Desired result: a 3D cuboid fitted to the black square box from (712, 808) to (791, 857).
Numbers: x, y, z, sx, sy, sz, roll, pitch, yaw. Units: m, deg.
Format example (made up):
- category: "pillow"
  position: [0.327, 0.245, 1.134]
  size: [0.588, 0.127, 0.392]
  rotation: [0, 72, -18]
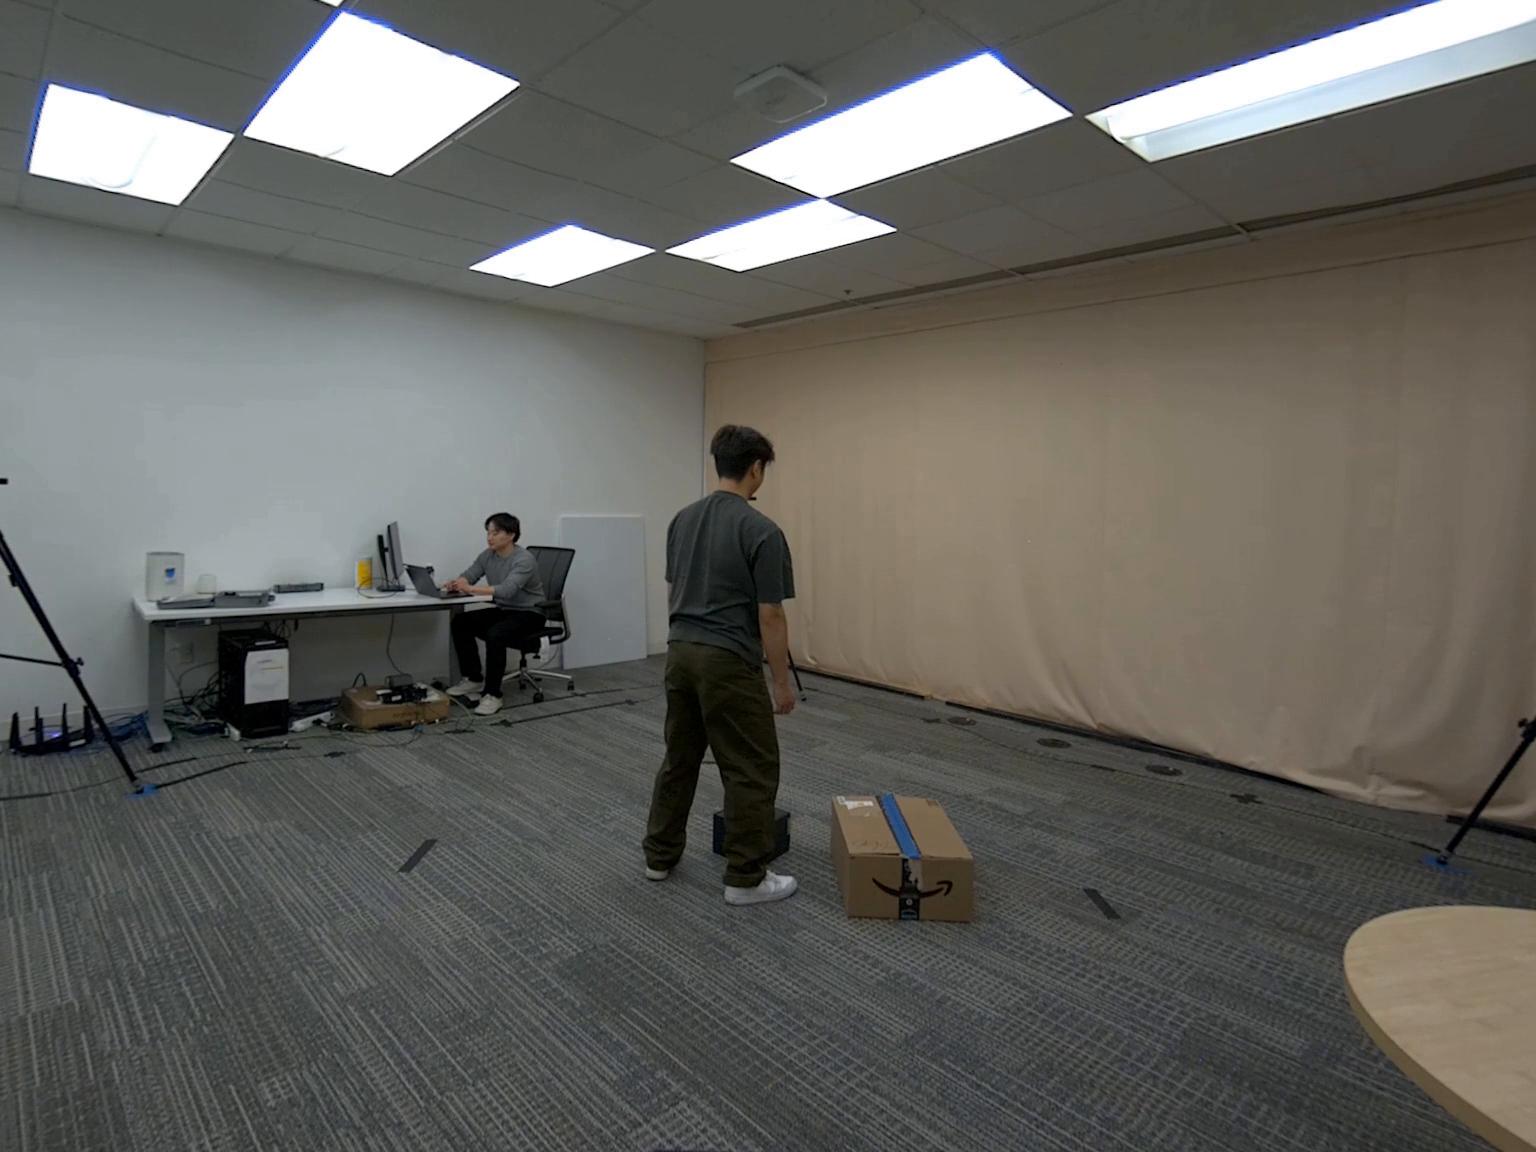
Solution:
- category: "black square box"
  position: [-0.068, 1.010, 3.317]
  size: [0.233, 0.155, 0.212]
  rotation: [4, 4, 34]
